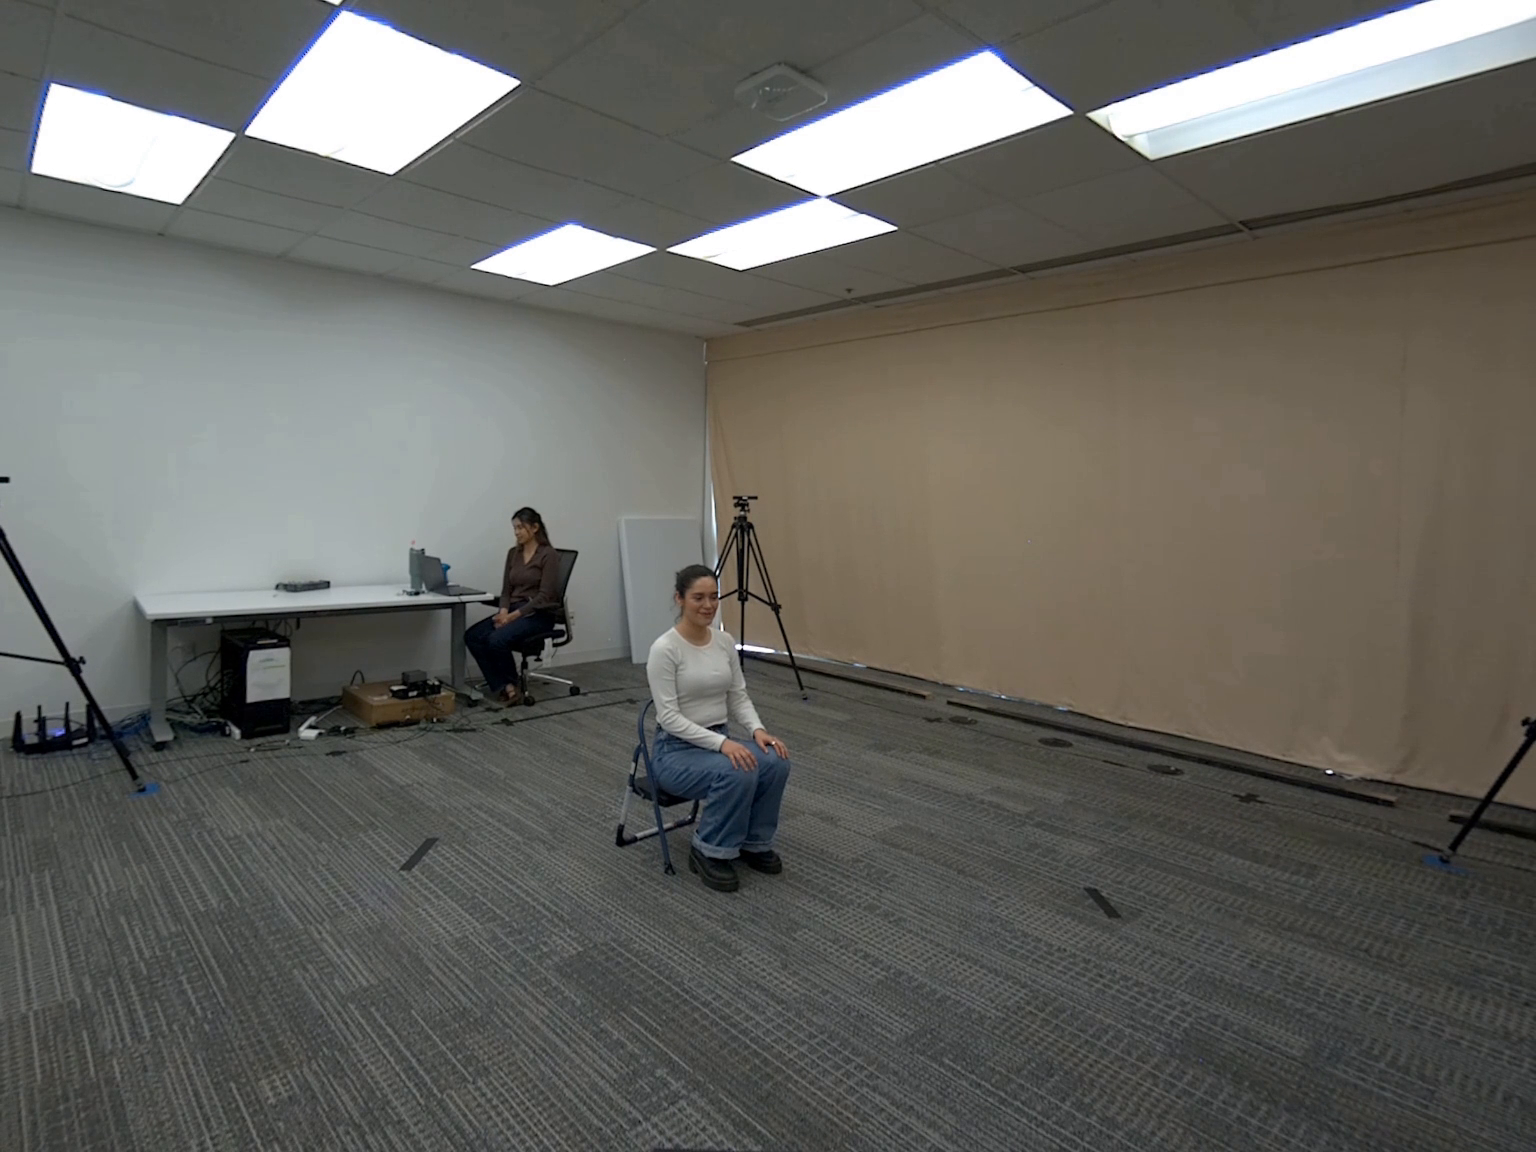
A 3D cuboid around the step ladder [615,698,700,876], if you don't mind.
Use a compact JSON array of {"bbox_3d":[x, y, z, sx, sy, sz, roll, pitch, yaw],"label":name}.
[{"bbox_3d":[-0.341,0.771,3.347,0.358,0.605,0.421,5,4,44],"label":"step ladder"}]
